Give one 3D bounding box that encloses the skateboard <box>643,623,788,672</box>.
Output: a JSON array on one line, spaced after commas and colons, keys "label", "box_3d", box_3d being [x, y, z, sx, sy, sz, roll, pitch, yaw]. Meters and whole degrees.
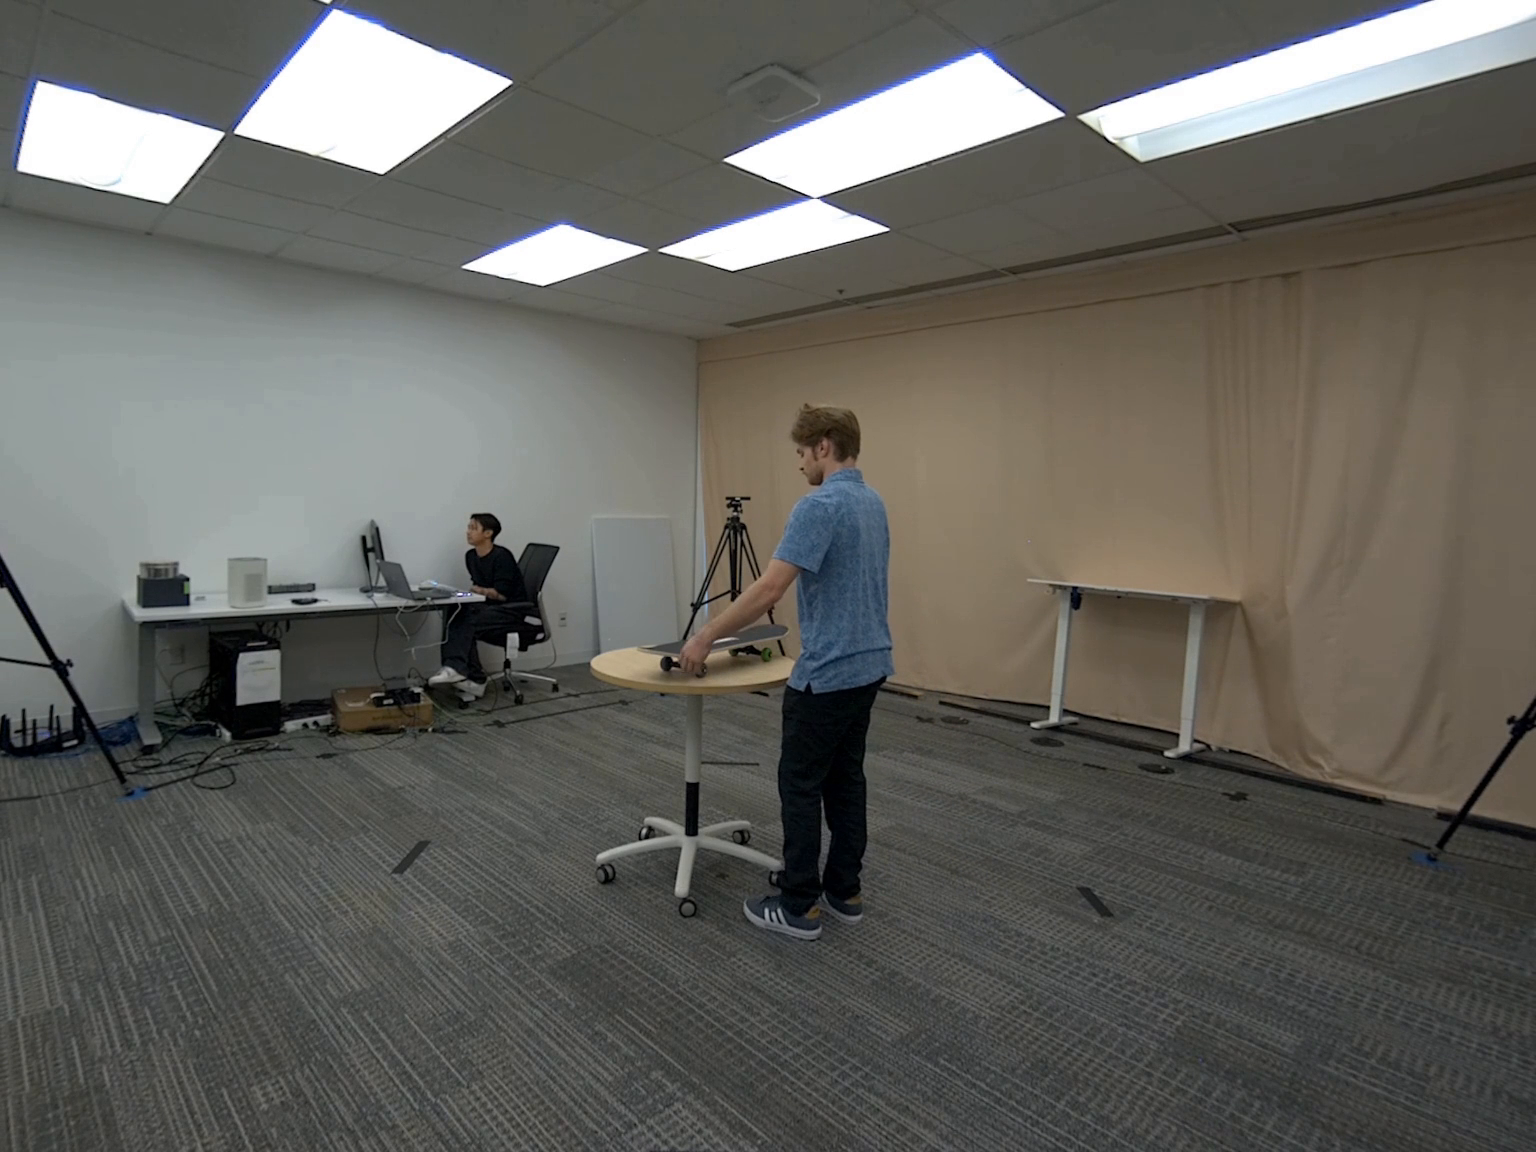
[{"label": "skateboard", "box_3d": [-0.181, 0.276, 3.049, 0.198, 0.110, 0.769, 4, 6, 34]}]
